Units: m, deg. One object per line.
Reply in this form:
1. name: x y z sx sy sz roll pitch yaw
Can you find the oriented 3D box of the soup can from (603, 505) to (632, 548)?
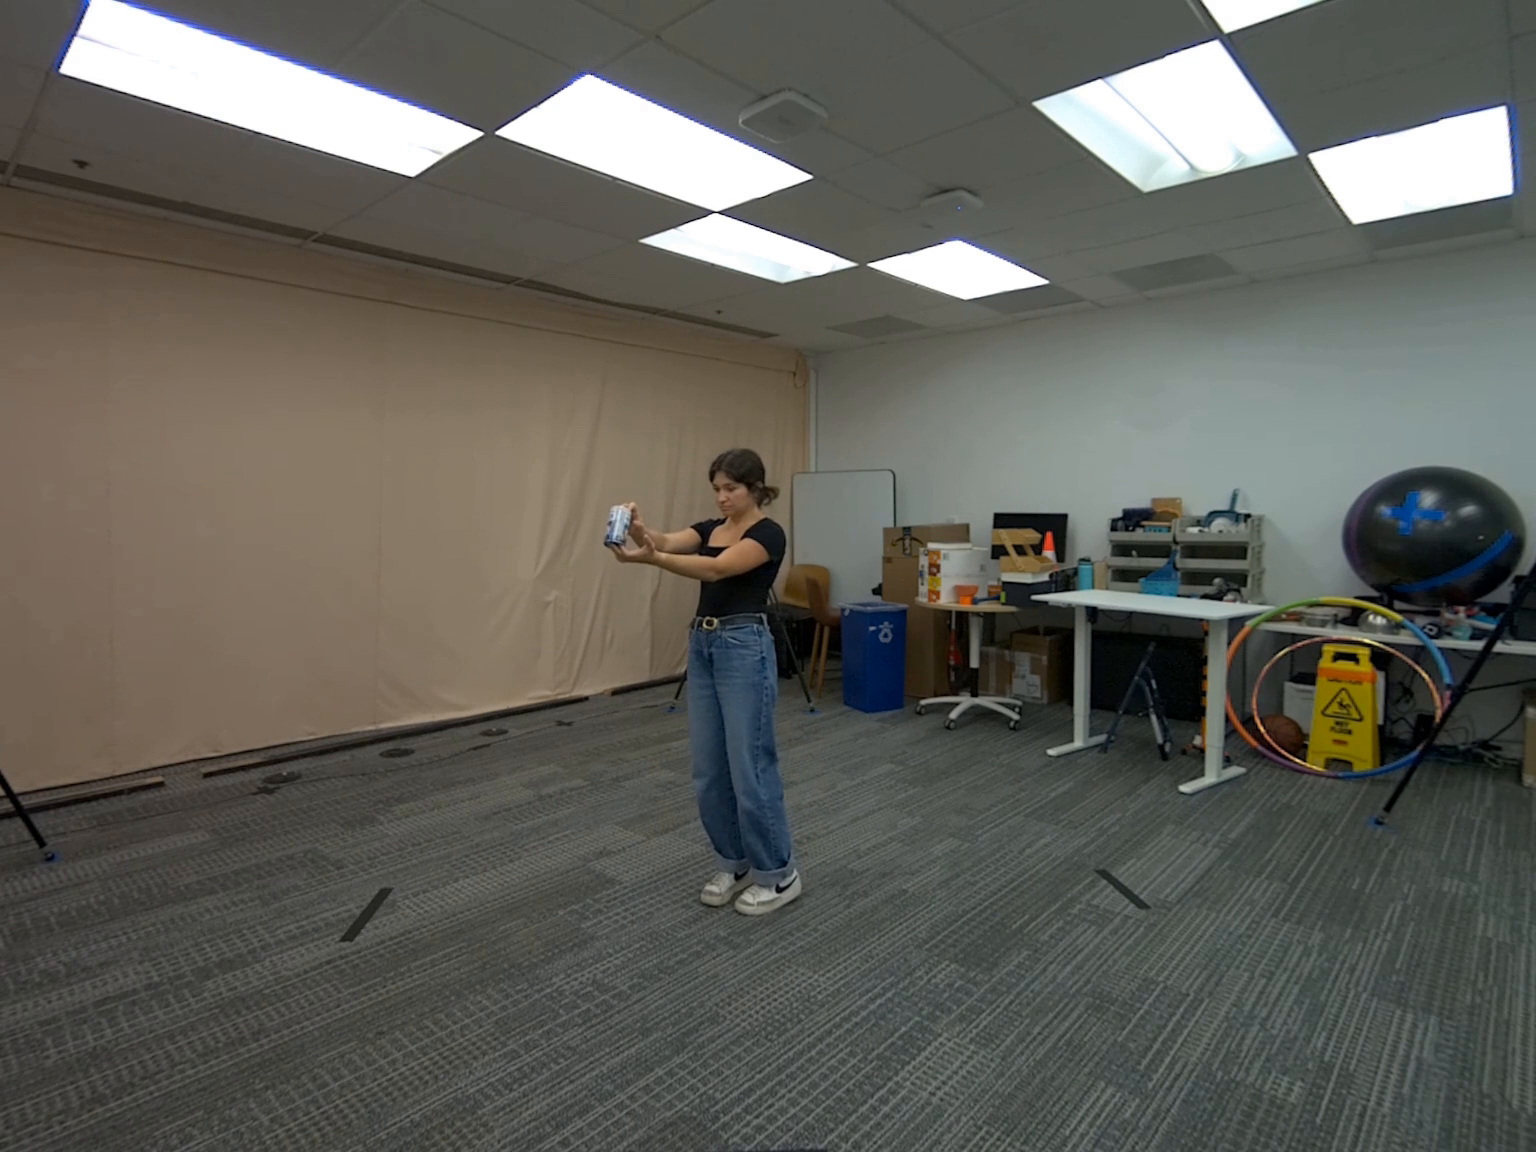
1. soup can: -0.444 -0.145 2.548 0.067 0.123 0.066 1 -21 -2
